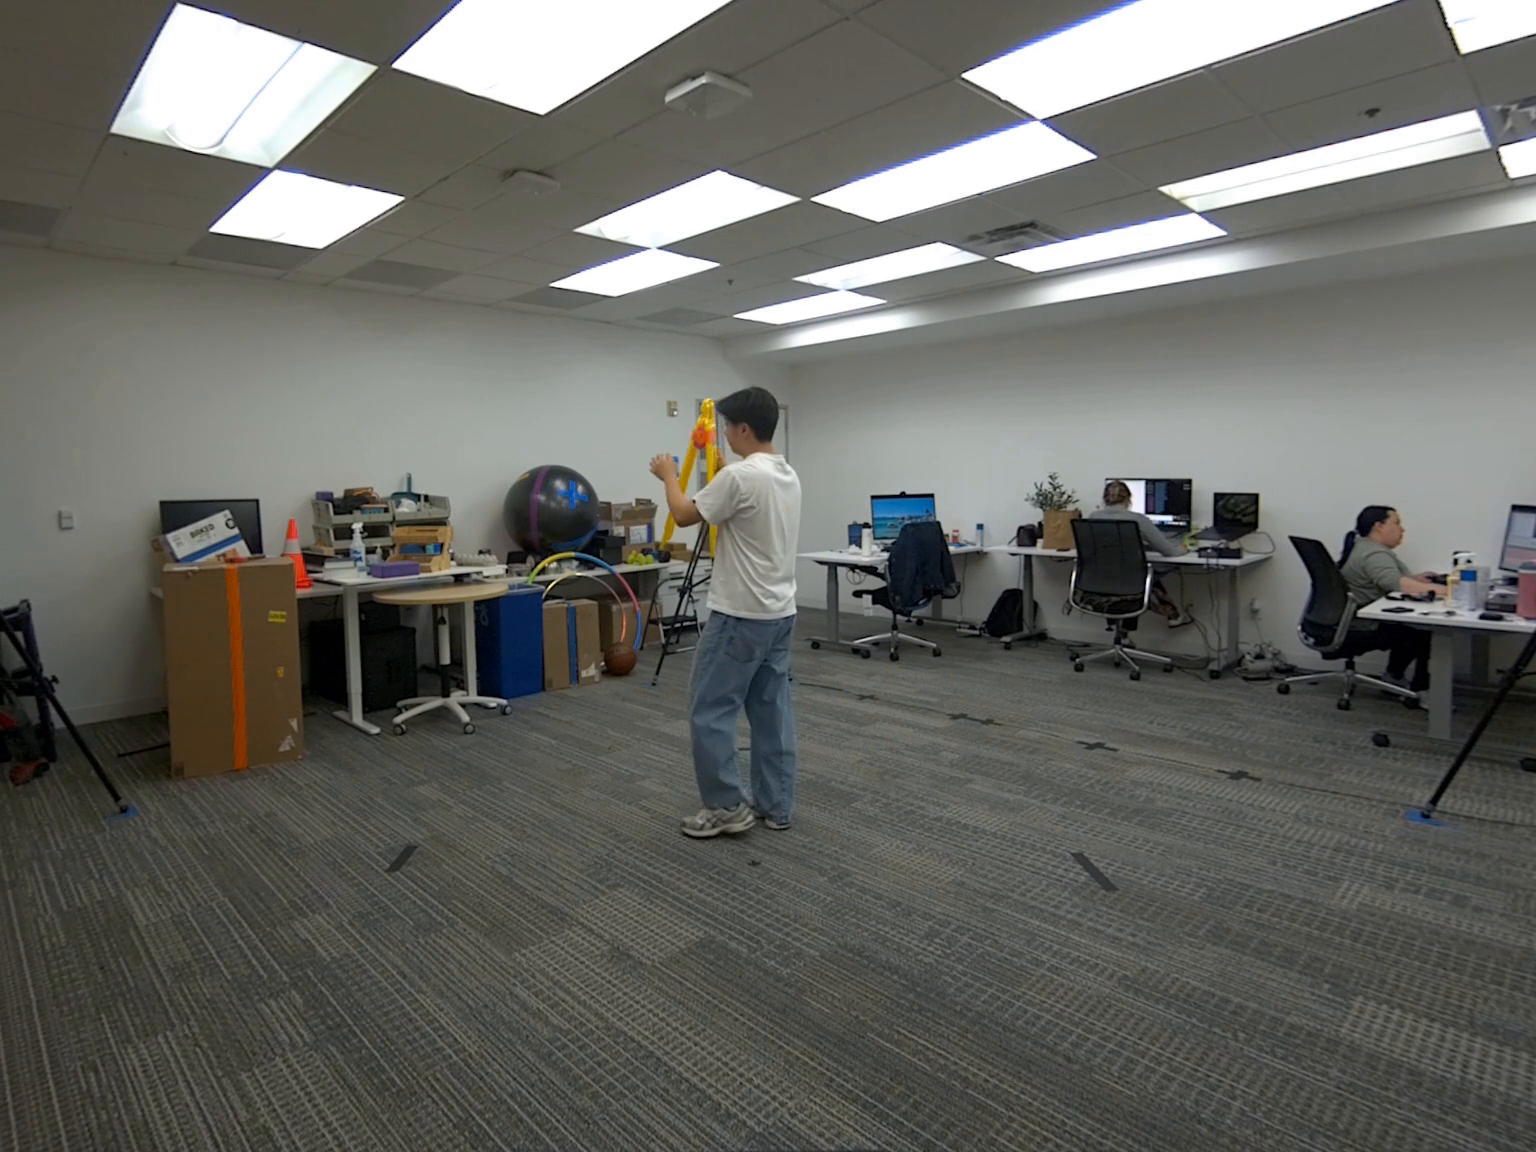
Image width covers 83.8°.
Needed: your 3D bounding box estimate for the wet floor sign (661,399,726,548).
[{"bbox_3d":[-0.298,-0.437,3.695,0.291,0.641,0.283,7,9,4],"label":"wet floor sign"}]
